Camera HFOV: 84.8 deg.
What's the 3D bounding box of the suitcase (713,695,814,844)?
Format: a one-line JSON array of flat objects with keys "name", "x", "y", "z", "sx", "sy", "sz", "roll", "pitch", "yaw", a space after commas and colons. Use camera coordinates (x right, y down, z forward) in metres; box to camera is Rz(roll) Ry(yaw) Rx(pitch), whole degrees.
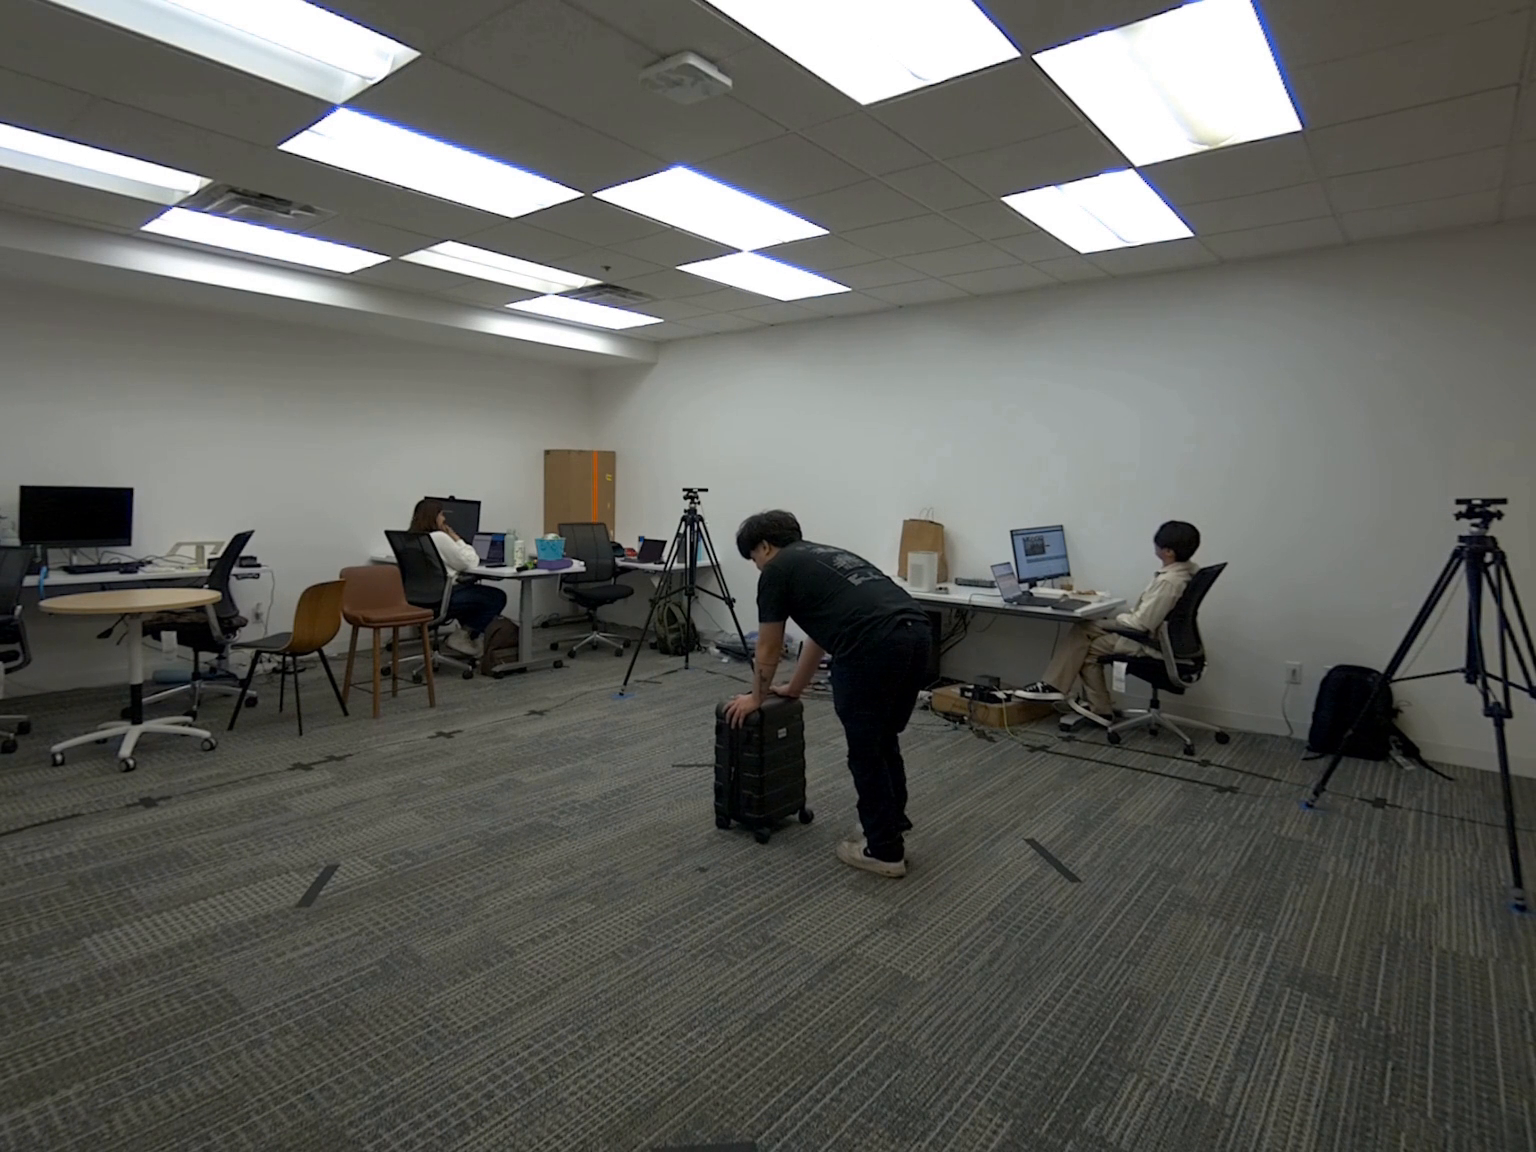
[{"name": "suitcase", "x": -0.037, "y": 0.759, "z": 3.544, "sx": 0.256, "sy": 0.548, "sz": 0.364, "roll": 0, "pitch": 3, "yaw": 40}]
